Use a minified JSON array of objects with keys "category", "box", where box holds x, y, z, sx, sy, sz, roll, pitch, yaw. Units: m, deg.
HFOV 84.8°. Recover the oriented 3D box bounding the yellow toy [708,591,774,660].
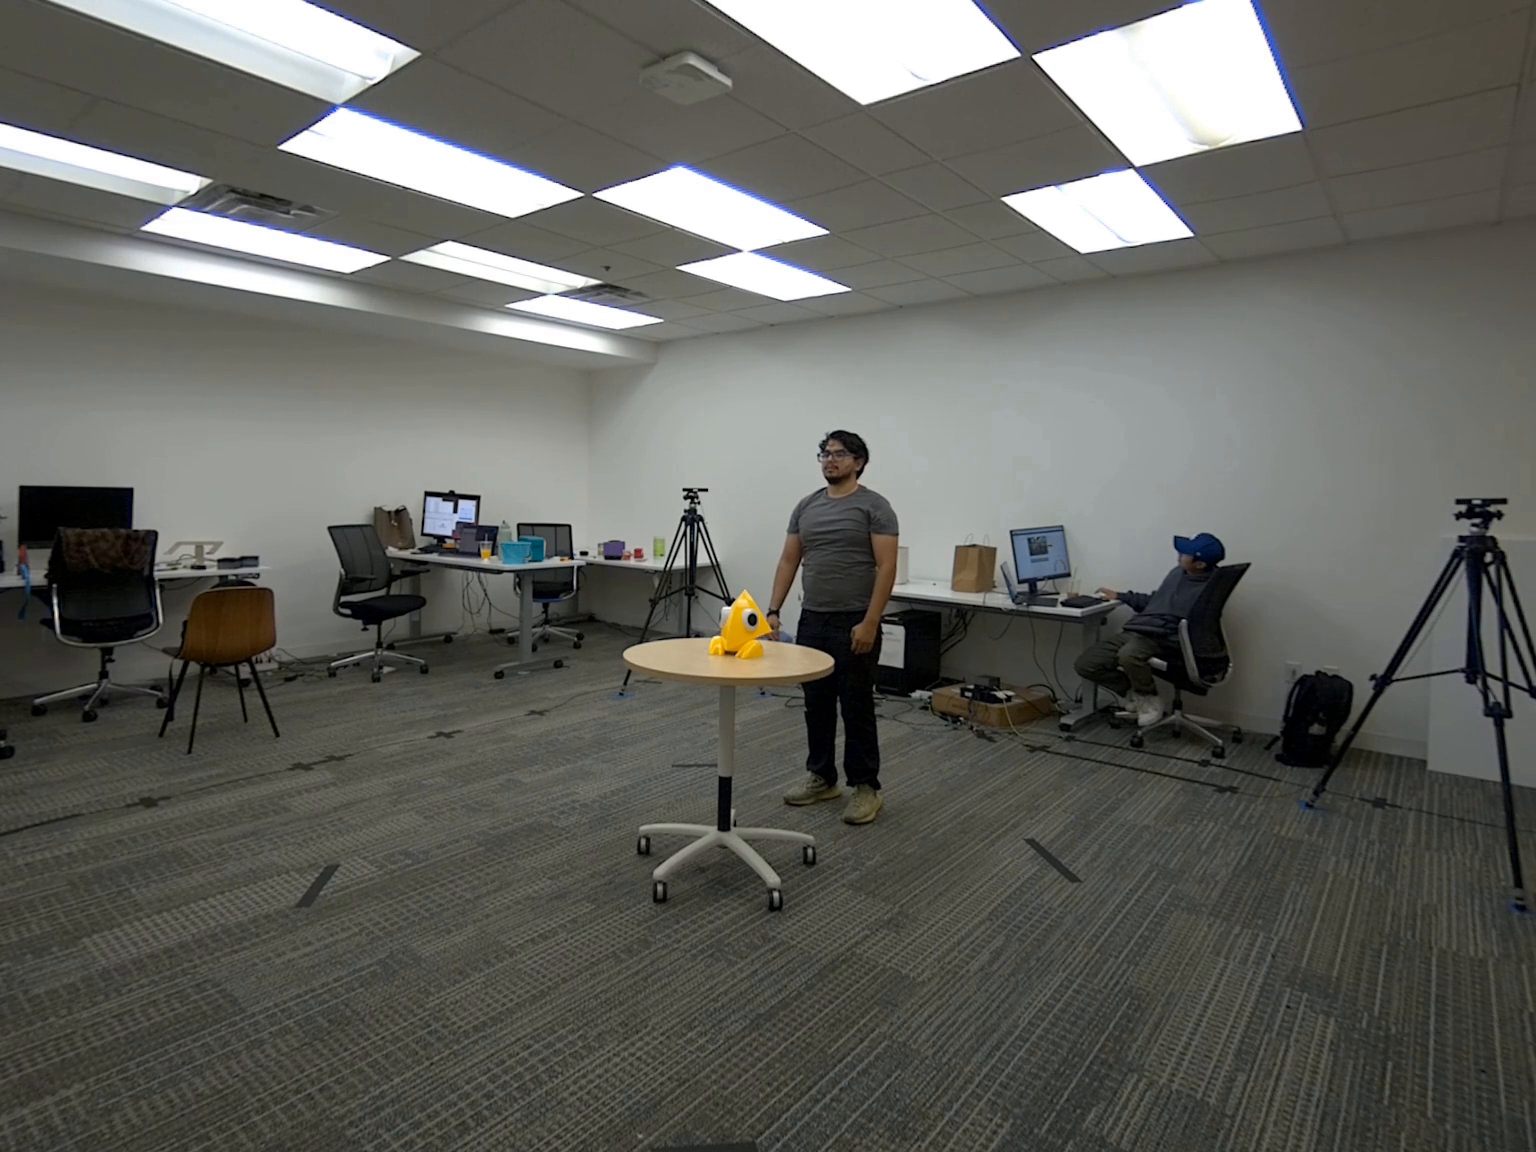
[{"category":"yellow toy","box":[-0.123,0.169,3.151,0.210,0.230,0.189,3,4,23]}]
